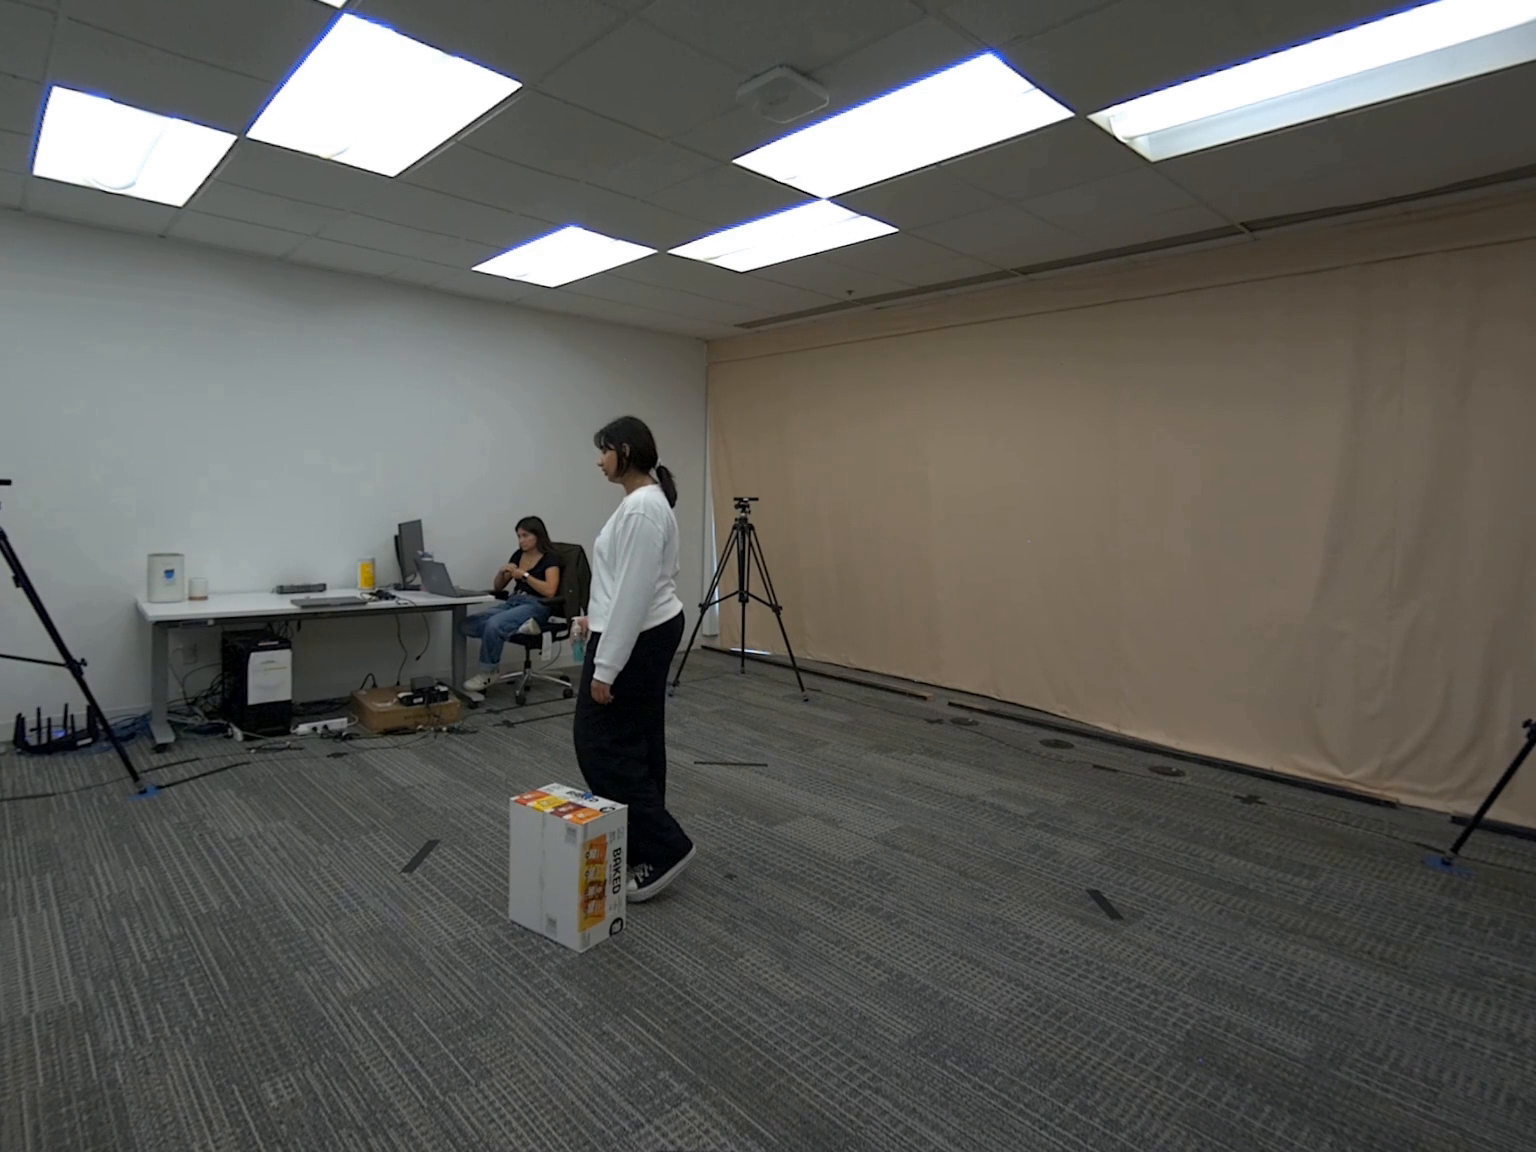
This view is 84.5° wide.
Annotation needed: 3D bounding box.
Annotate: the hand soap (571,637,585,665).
[{"bbox_3d":[-0.718,0.239,3.171,0.043,0.168,0.085,-1,2,-5],"label":"hand soap"}]
